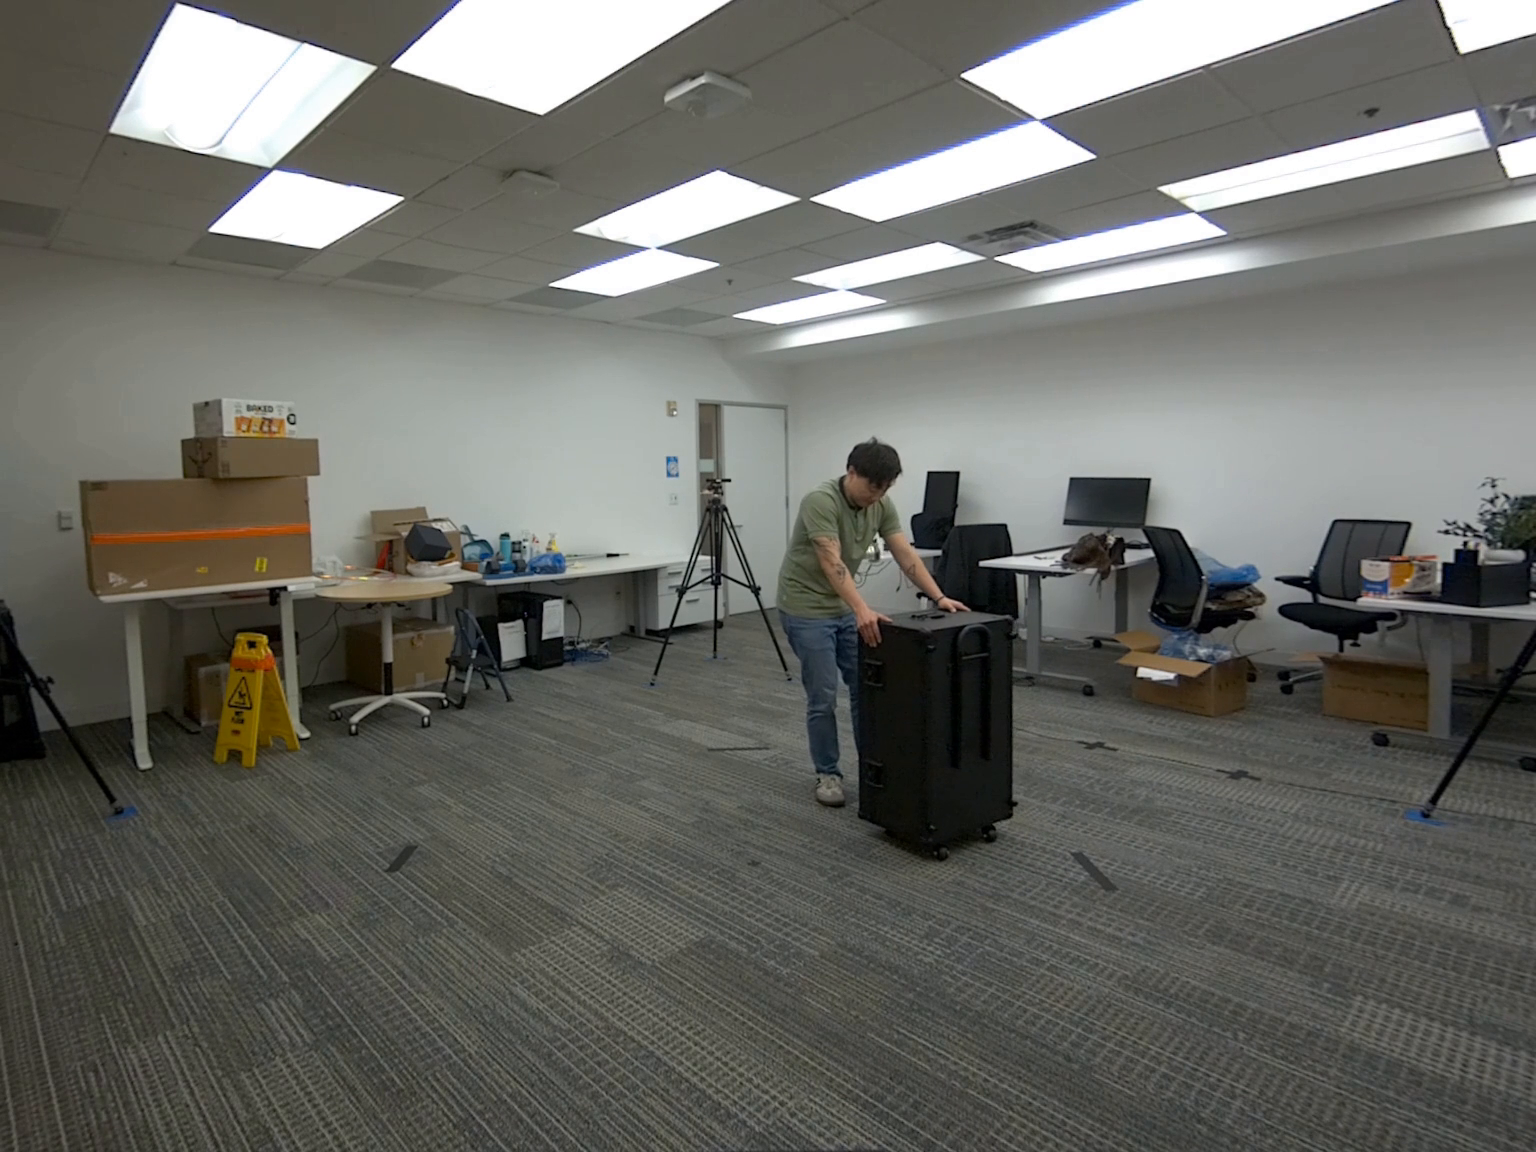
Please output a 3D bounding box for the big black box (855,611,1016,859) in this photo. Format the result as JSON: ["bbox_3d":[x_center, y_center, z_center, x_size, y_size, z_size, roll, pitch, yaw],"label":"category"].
[{"bbox_3d":[0.661,0.587,3.290,0.508,0.858,0.408,-4,6,-36],"label":"big black box"}]
